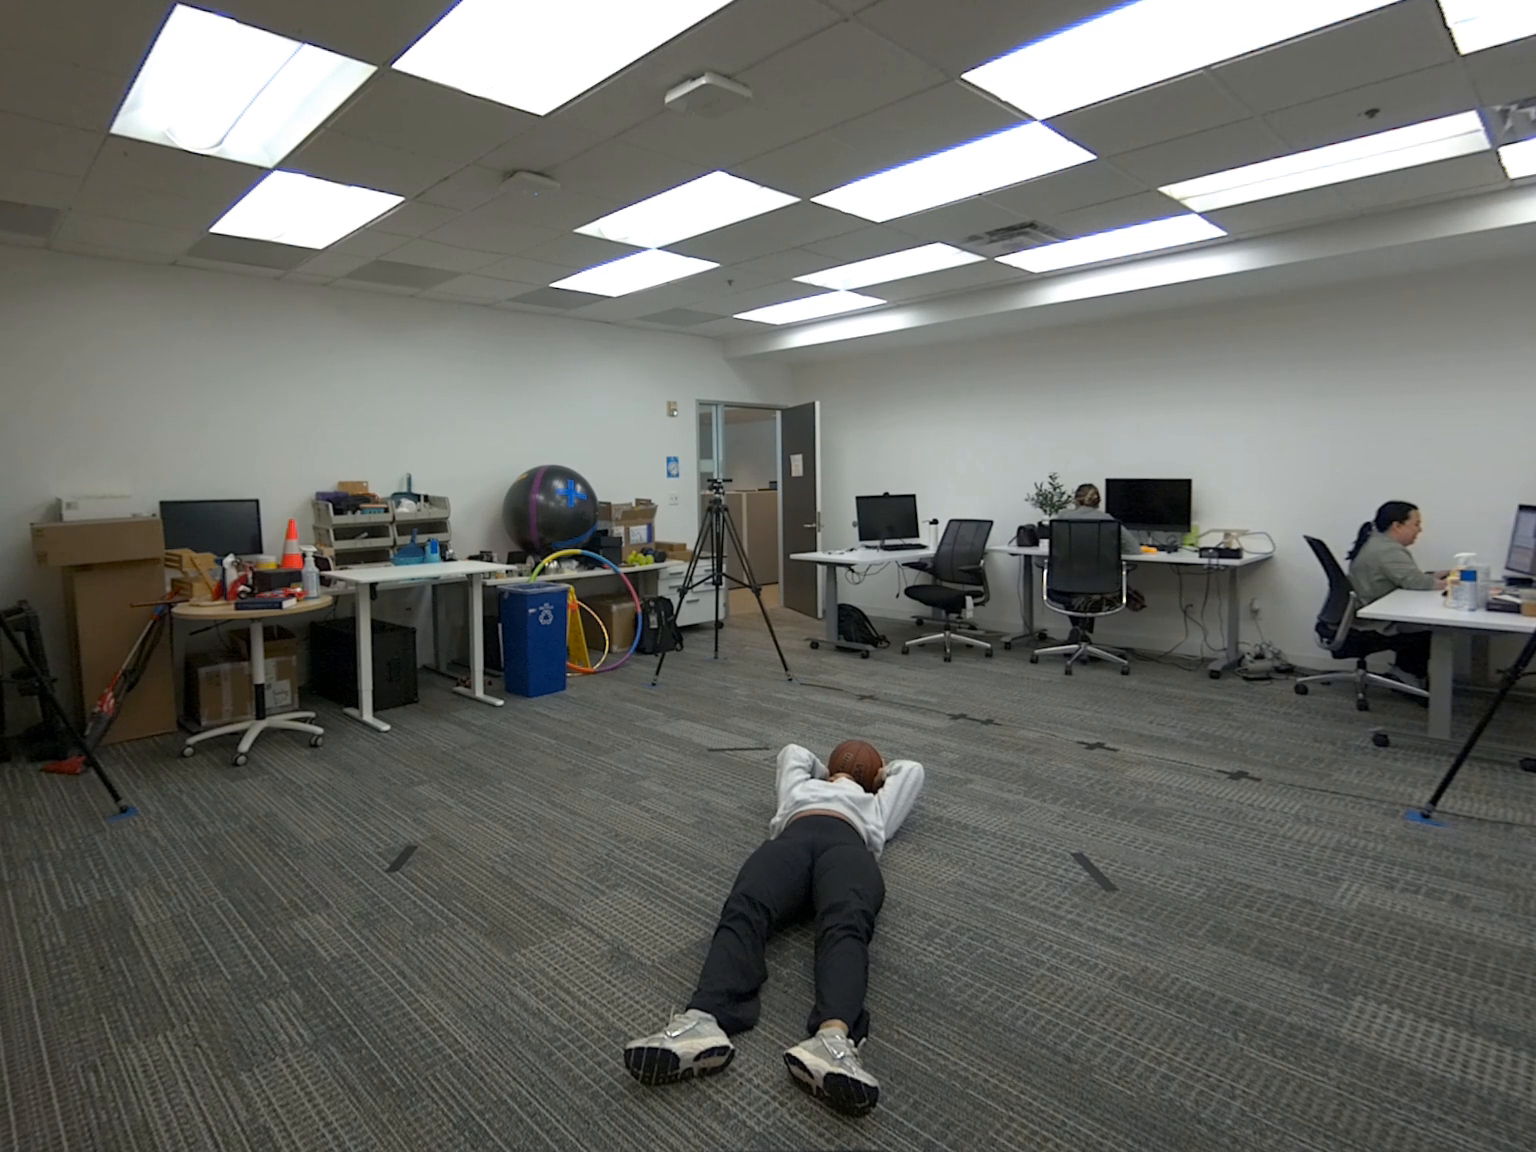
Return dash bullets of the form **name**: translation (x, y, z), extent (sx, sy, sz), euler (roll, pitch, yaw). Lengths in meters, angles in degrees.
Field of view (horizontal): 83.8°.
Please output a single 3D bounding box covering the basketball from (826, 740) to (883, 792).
- **basketball**: translation (0.386, 0.841, 3.766), extent (0.236, 0.235, 0.236), euler (-4, 2, -2)
